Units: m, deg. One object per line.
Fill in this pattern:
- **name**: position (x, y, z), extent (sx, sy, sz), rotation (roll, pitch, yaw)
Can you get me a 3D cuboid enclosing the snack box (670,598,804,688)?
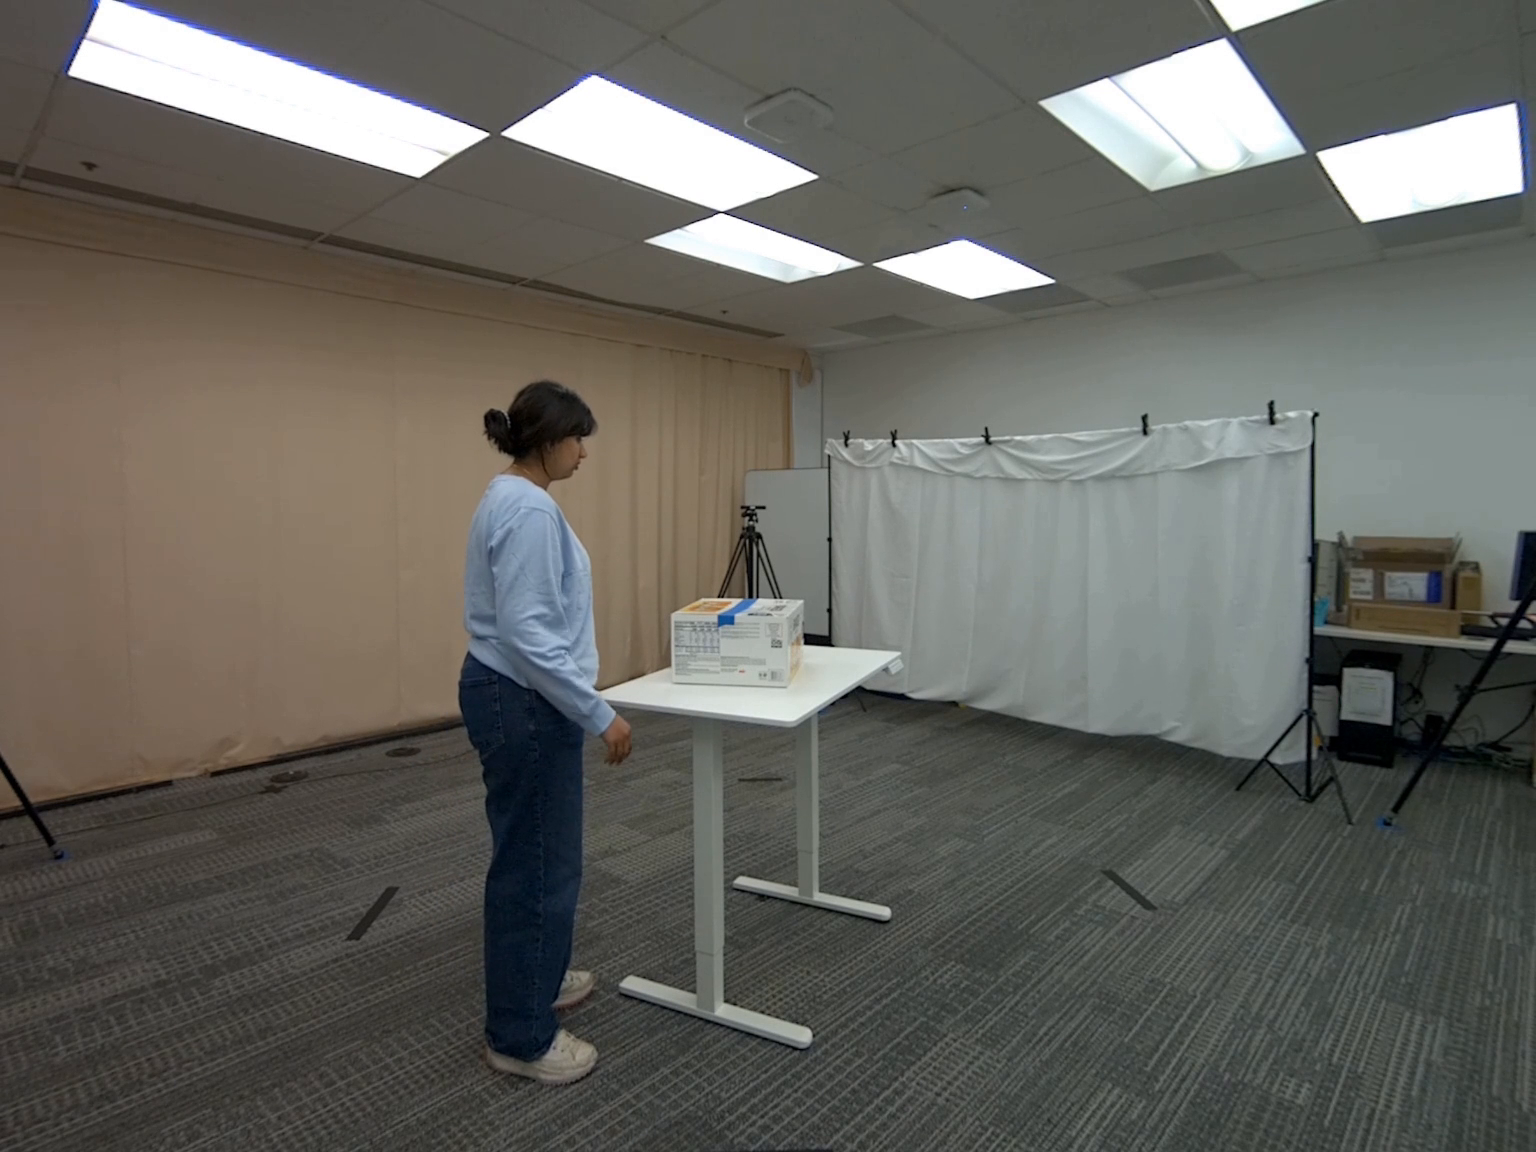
- **snack box**: position (-0.079, 0.194, 2.579), extent (0.344, 0.205, 0.401), rotation (0, 5, 10)
